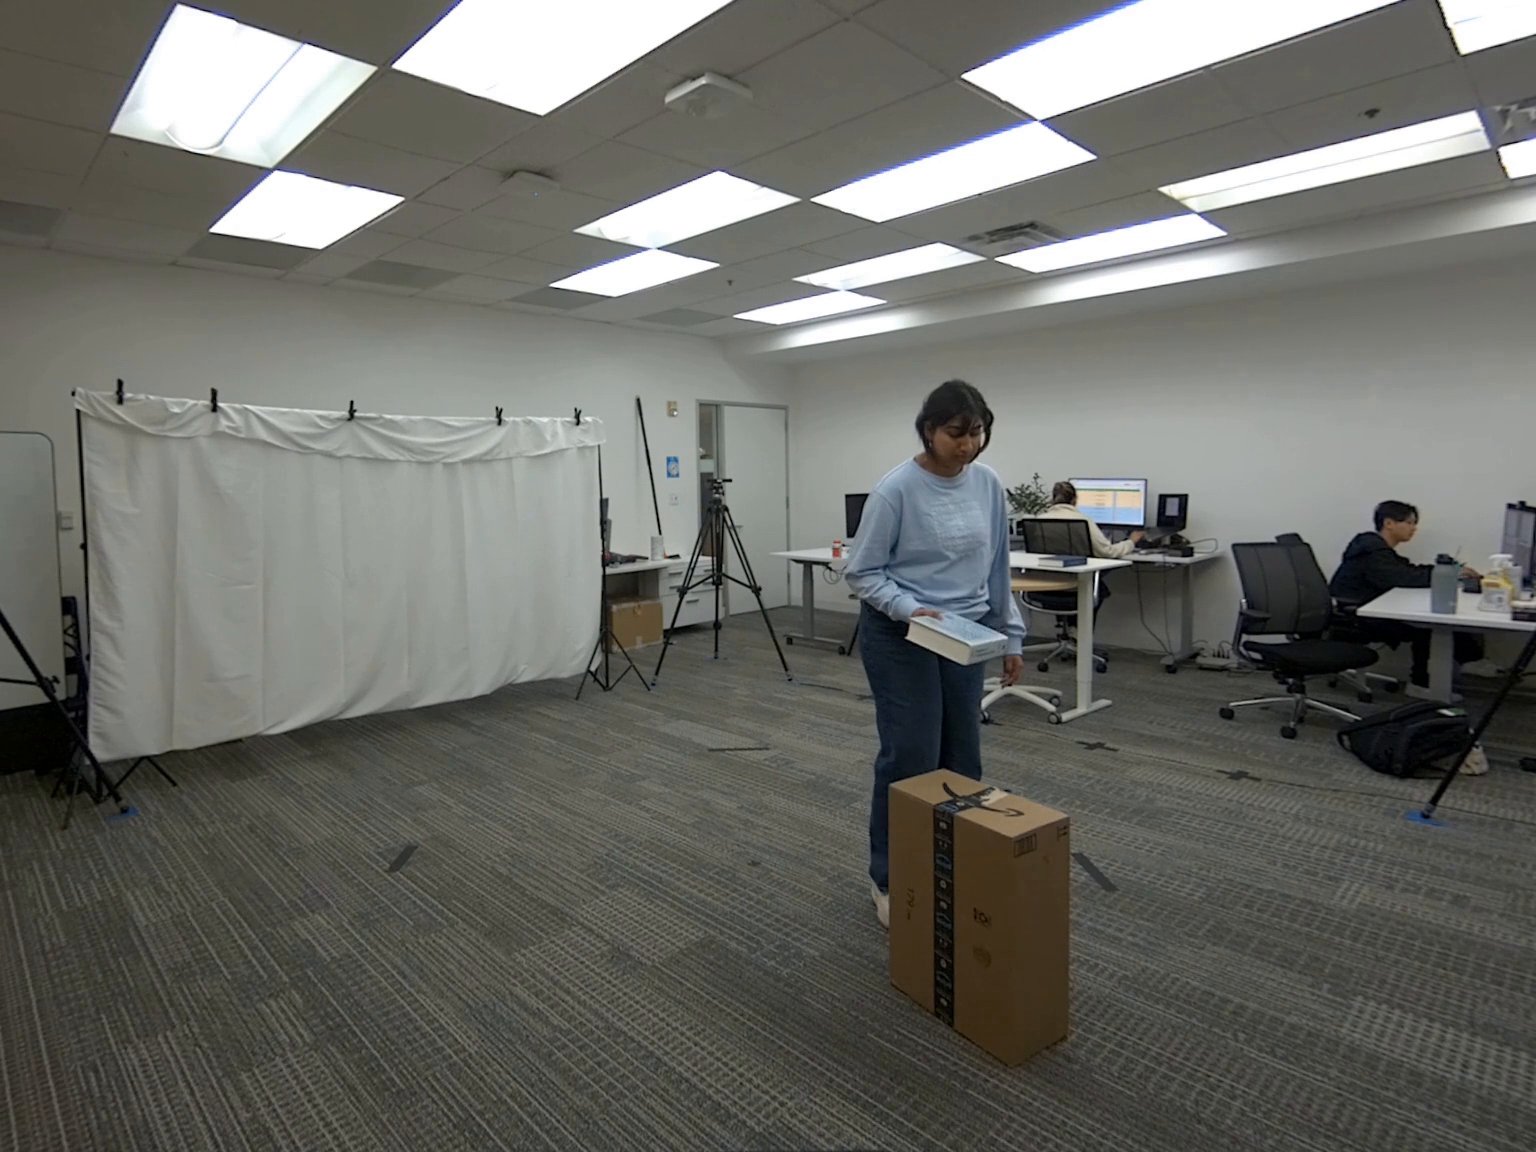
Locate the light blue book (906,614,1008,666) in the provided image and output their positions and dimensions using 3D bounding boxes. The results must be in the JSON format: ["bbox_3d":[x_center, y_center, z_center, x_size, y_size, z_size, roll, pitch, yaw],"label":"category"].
[{"bbox_3d":[0.518,0.173,2.367,0.198,0.058,0.254,23,16,35],"label":"light blue book"}]
